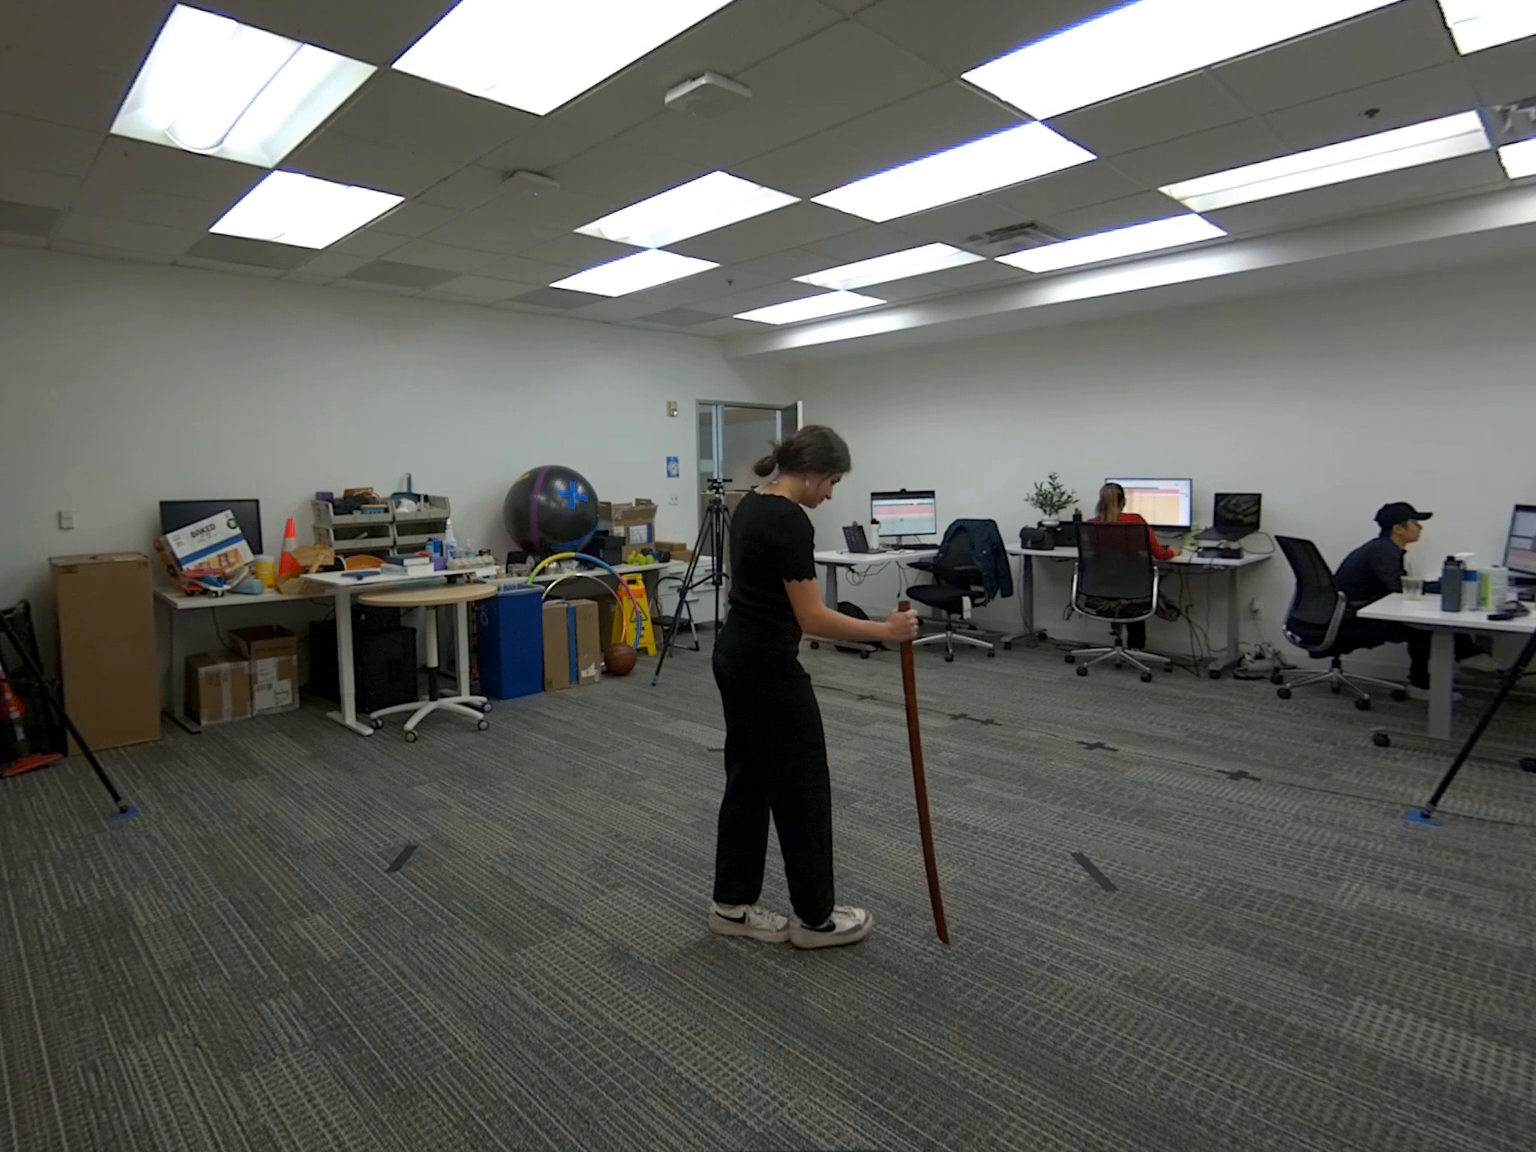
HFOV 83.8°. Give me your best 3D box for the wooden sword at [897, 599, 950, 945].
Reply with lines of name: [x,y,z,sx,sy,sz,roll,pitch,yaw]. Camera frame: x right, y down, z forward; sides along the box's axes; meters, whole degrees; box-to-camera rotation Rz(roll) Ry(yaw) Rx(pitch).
wooden sword: [0.443,0.586,2.487,0.050,1.021,0.024,-7,3,-17]
